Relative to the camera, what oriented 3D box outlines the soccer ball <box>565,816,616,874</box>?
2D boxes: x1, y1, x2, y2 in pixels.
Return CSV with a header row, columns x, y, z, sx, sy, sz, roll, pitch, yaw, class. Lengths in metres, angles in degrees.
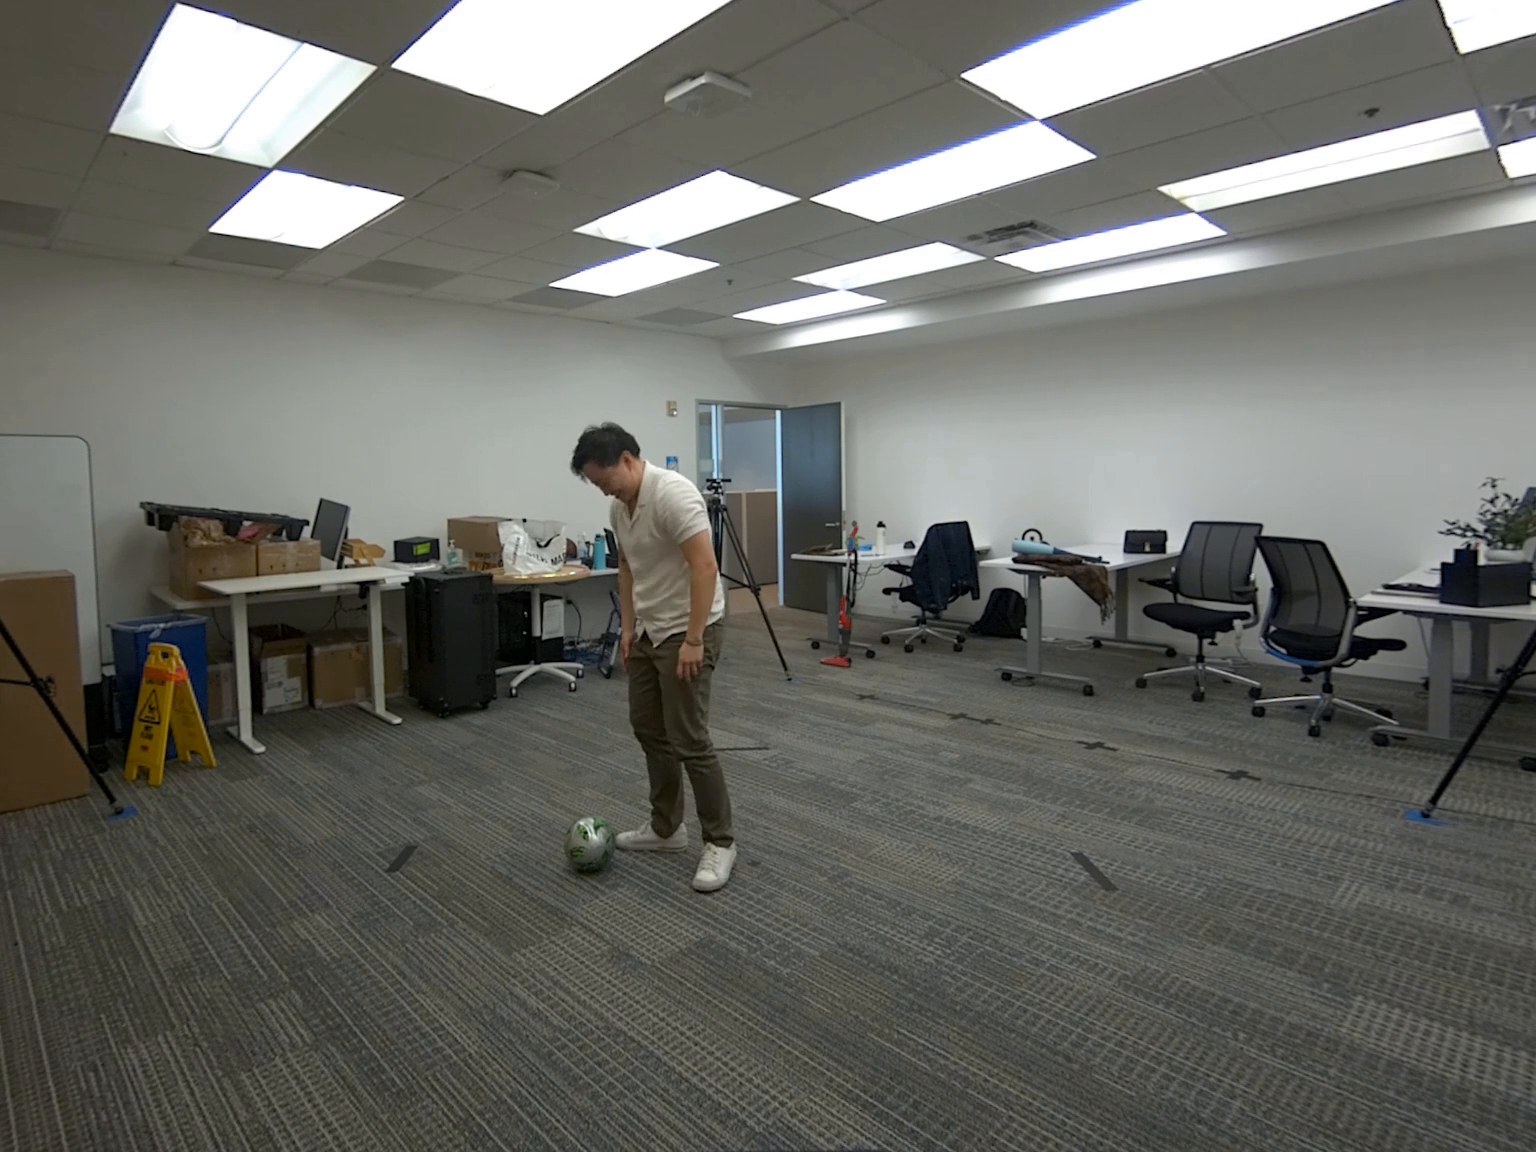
x,y,z,sx,sy,sz,roll,pitch,yaw,class
-0.640,0.965,3.083,0.187,0.187,0.188,-1,5,-2,soccer ball
